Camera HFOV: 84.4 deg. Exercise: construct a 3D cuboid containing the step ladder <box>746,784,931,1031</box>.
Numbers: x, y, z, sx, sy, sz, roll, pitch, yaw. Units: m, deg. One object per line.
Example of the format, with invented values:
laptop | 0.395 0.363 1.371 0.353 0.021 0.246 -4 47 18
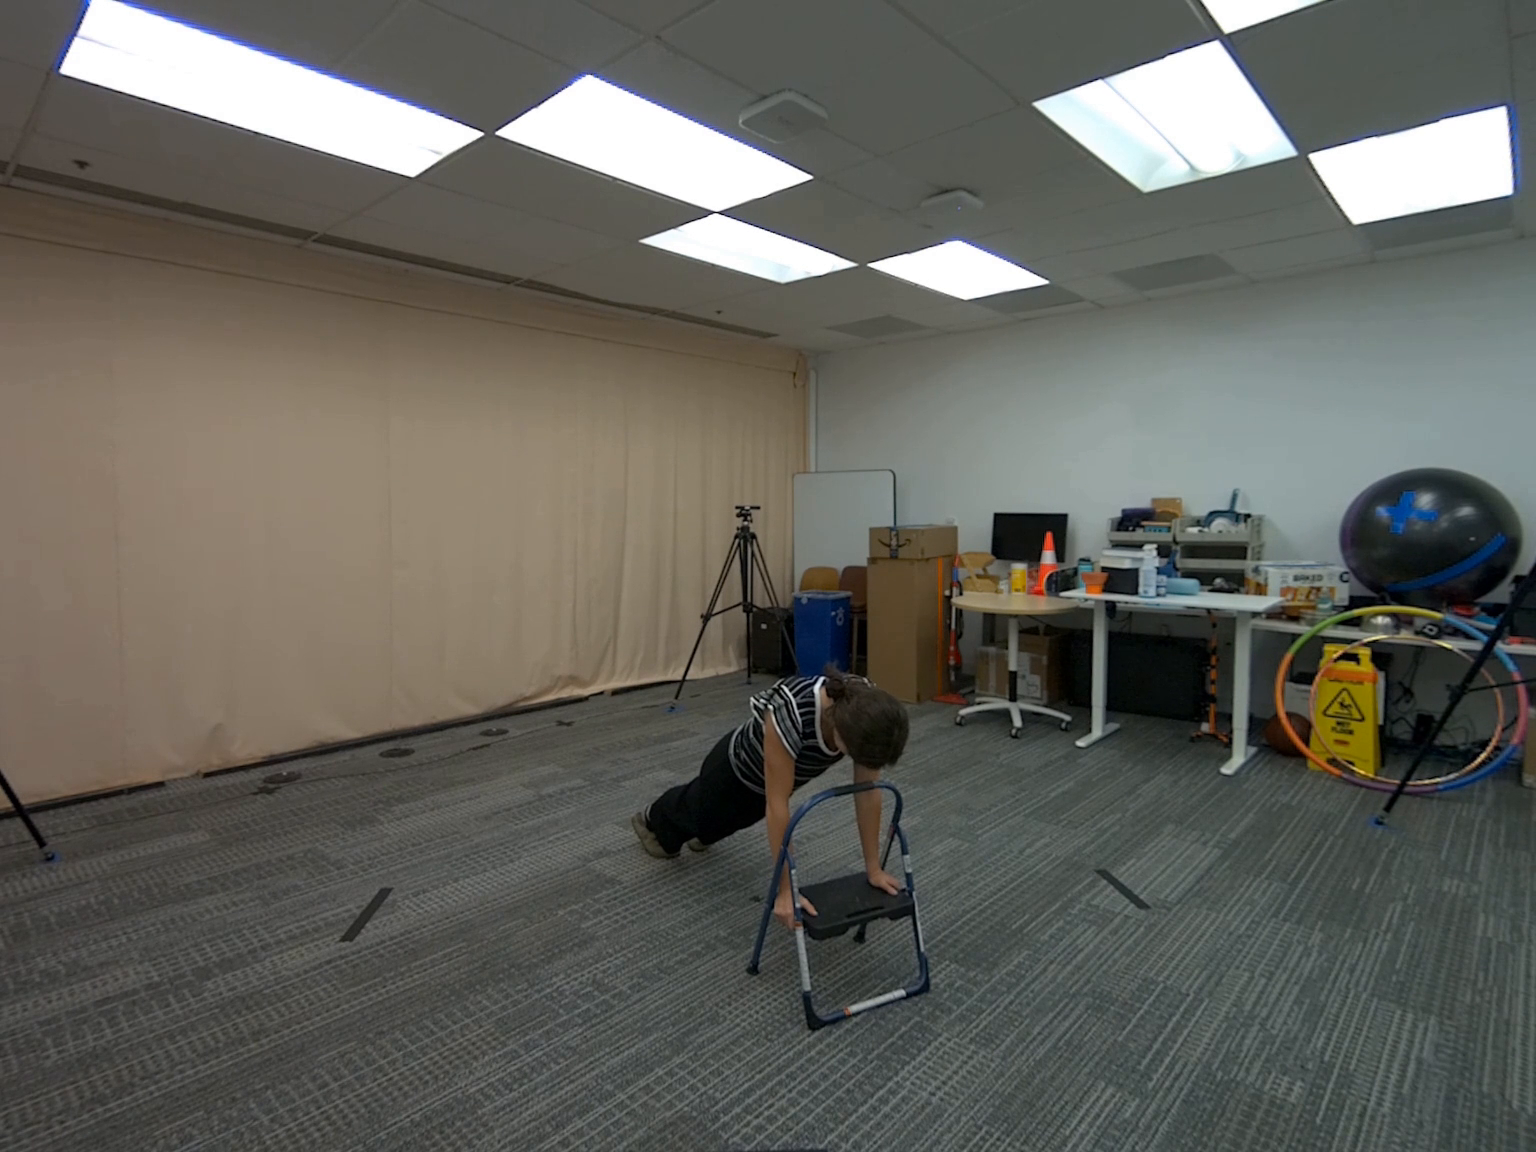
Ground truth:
step ladder | 0.212 0.888 2.454 0.419 0.604 0.359 -2 5 -30
